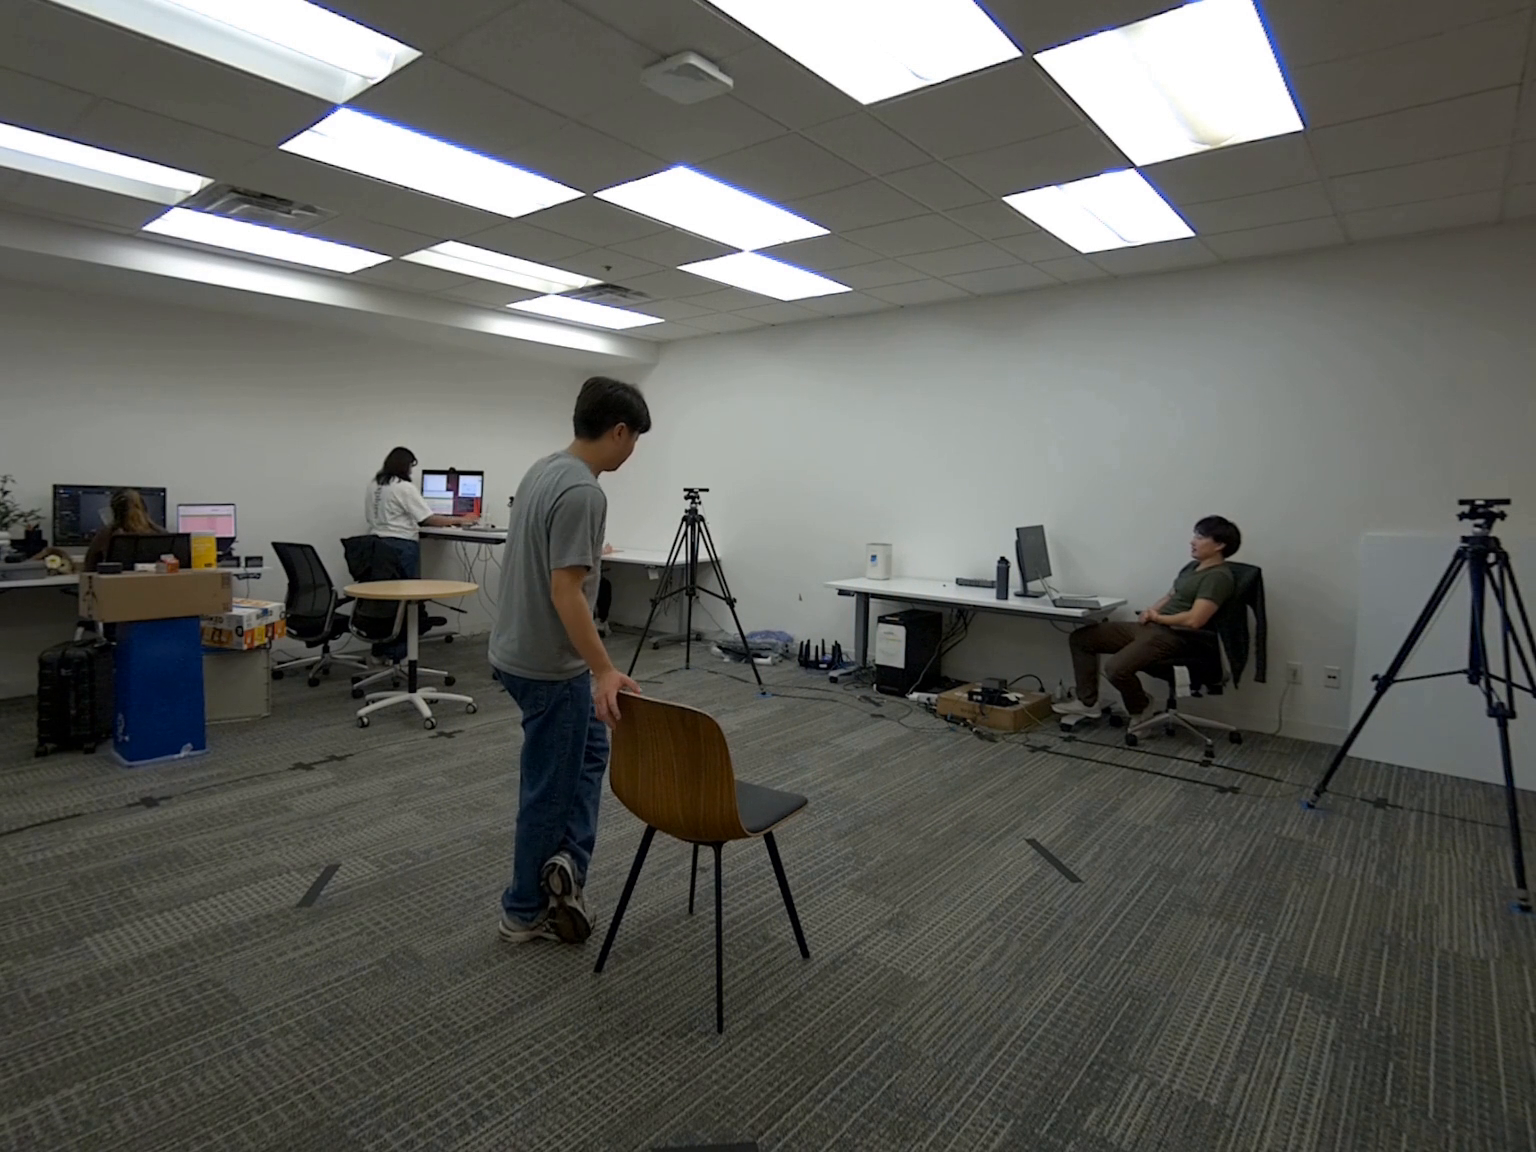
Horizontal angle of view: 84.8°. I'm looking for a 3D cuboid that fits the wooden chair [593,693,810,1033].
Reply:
[{"bbox_3d":[-0.184,0.707,2.459,0.493,0.871,0.510,4,9,34],"label":"wooden chair"}]
